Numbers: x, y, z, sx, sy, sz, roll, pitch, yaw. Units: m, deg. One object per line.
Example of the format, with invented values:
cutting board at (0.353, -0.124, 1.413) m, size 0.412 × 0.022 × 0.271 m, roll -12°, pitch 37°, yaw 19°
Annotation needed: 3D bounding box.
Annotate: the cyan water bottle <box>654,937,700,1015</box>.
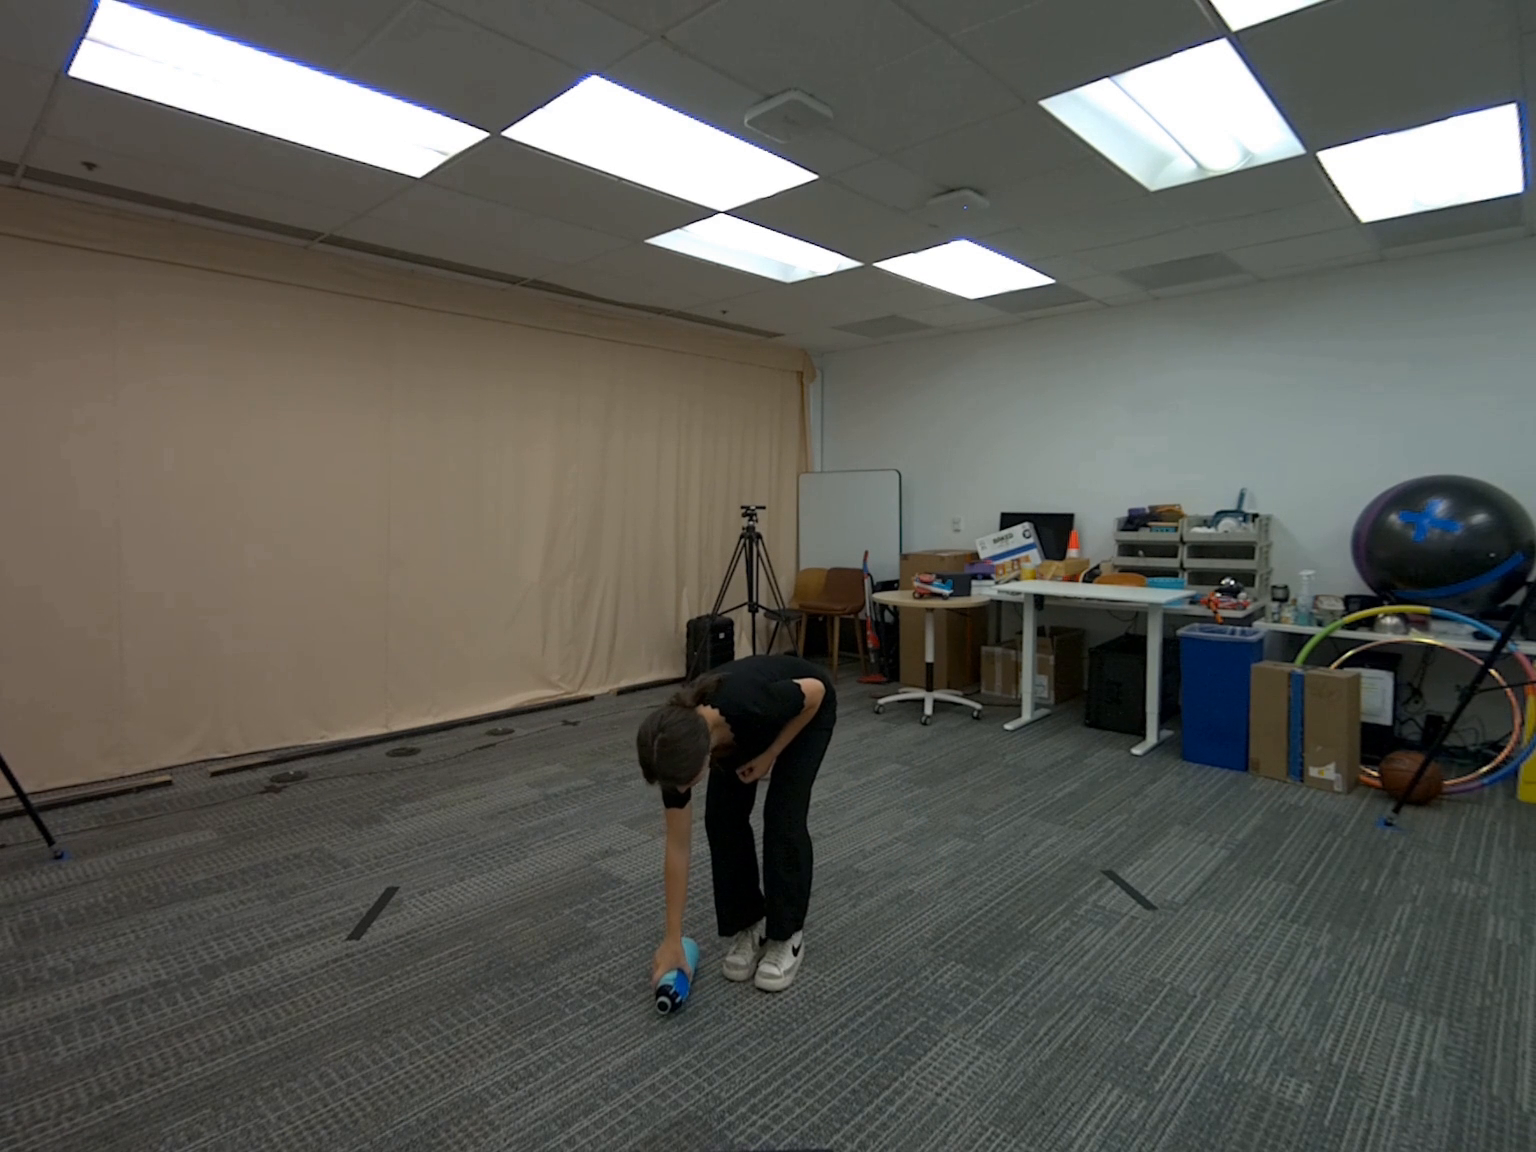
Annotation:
cyan water bottle at (-0.256, 1.145, 2.404) m, size 0.093 × 0.092 × 0.282 m, roll 0°, pitch 3°, yaw 5°
